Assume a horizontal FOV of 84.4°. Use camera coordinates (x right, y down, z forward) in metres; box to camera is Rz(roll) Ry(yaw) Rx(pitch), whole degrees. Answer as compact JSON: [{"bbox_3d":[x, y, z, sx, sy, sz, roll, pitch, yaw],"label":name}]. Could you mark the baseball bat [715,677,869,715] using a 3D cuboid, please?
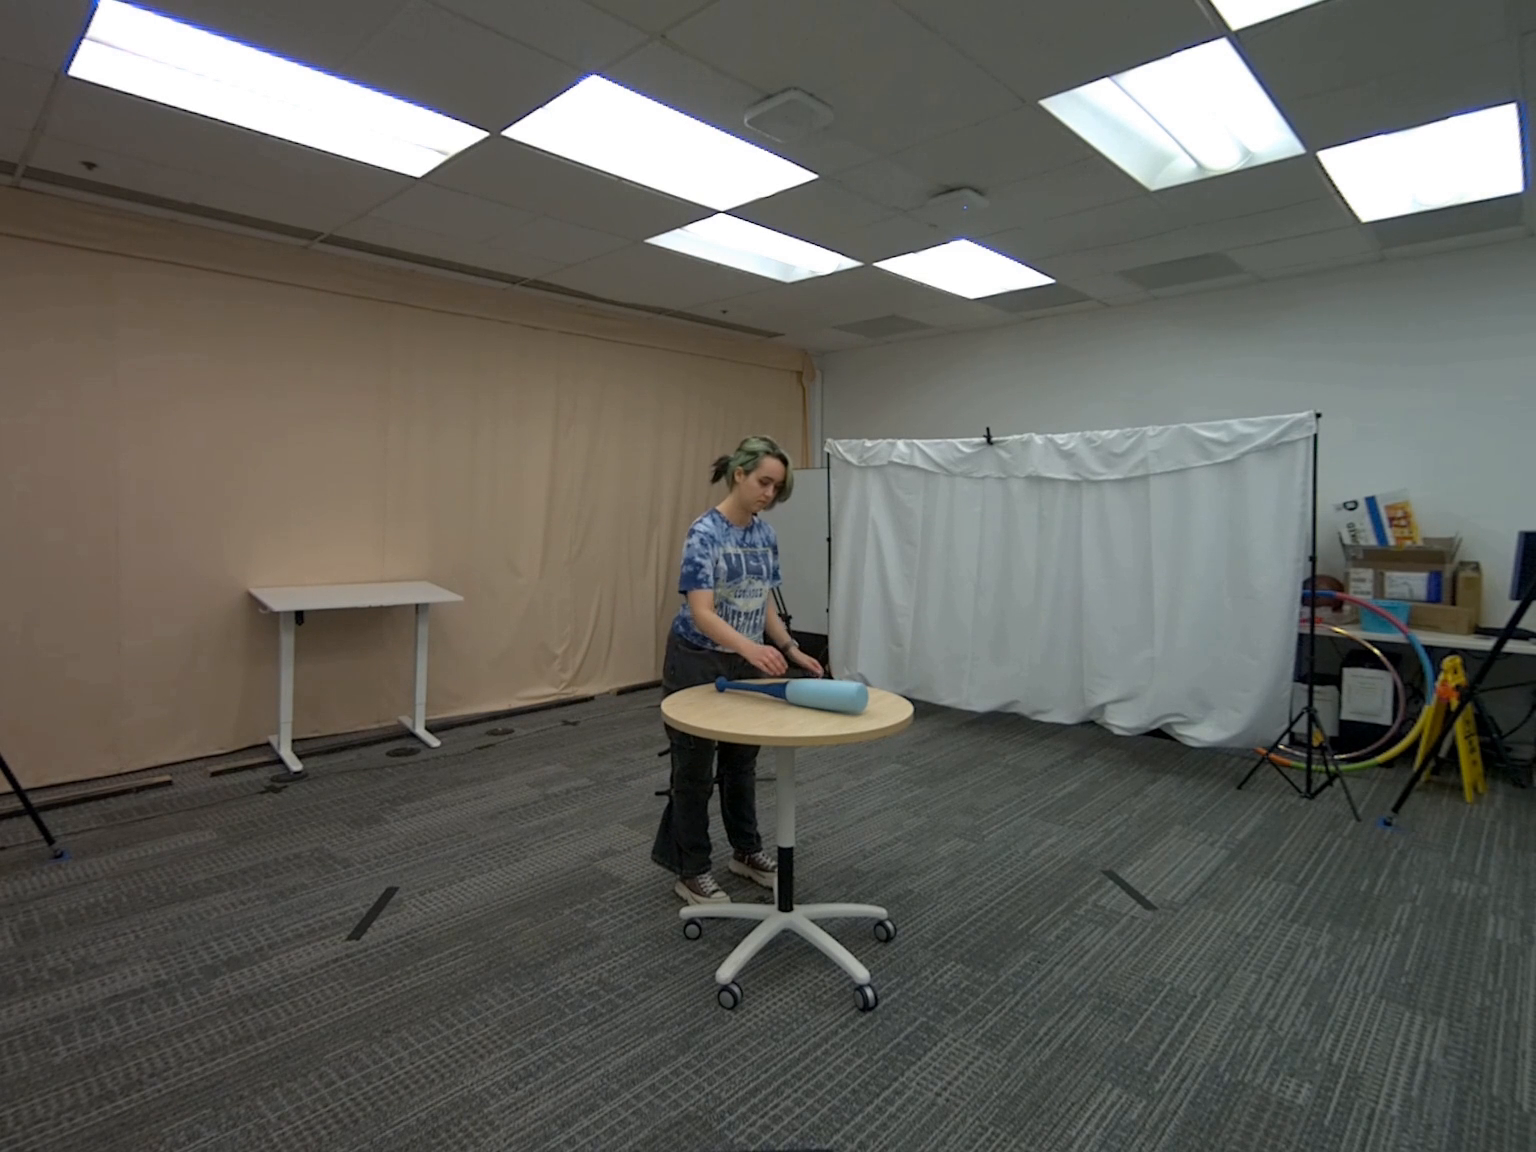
[{"bbox_3d":[0.052,0.359,2.589,0.560,0.089,0.086,-1,2,37],"label":"baseball bat"}]
